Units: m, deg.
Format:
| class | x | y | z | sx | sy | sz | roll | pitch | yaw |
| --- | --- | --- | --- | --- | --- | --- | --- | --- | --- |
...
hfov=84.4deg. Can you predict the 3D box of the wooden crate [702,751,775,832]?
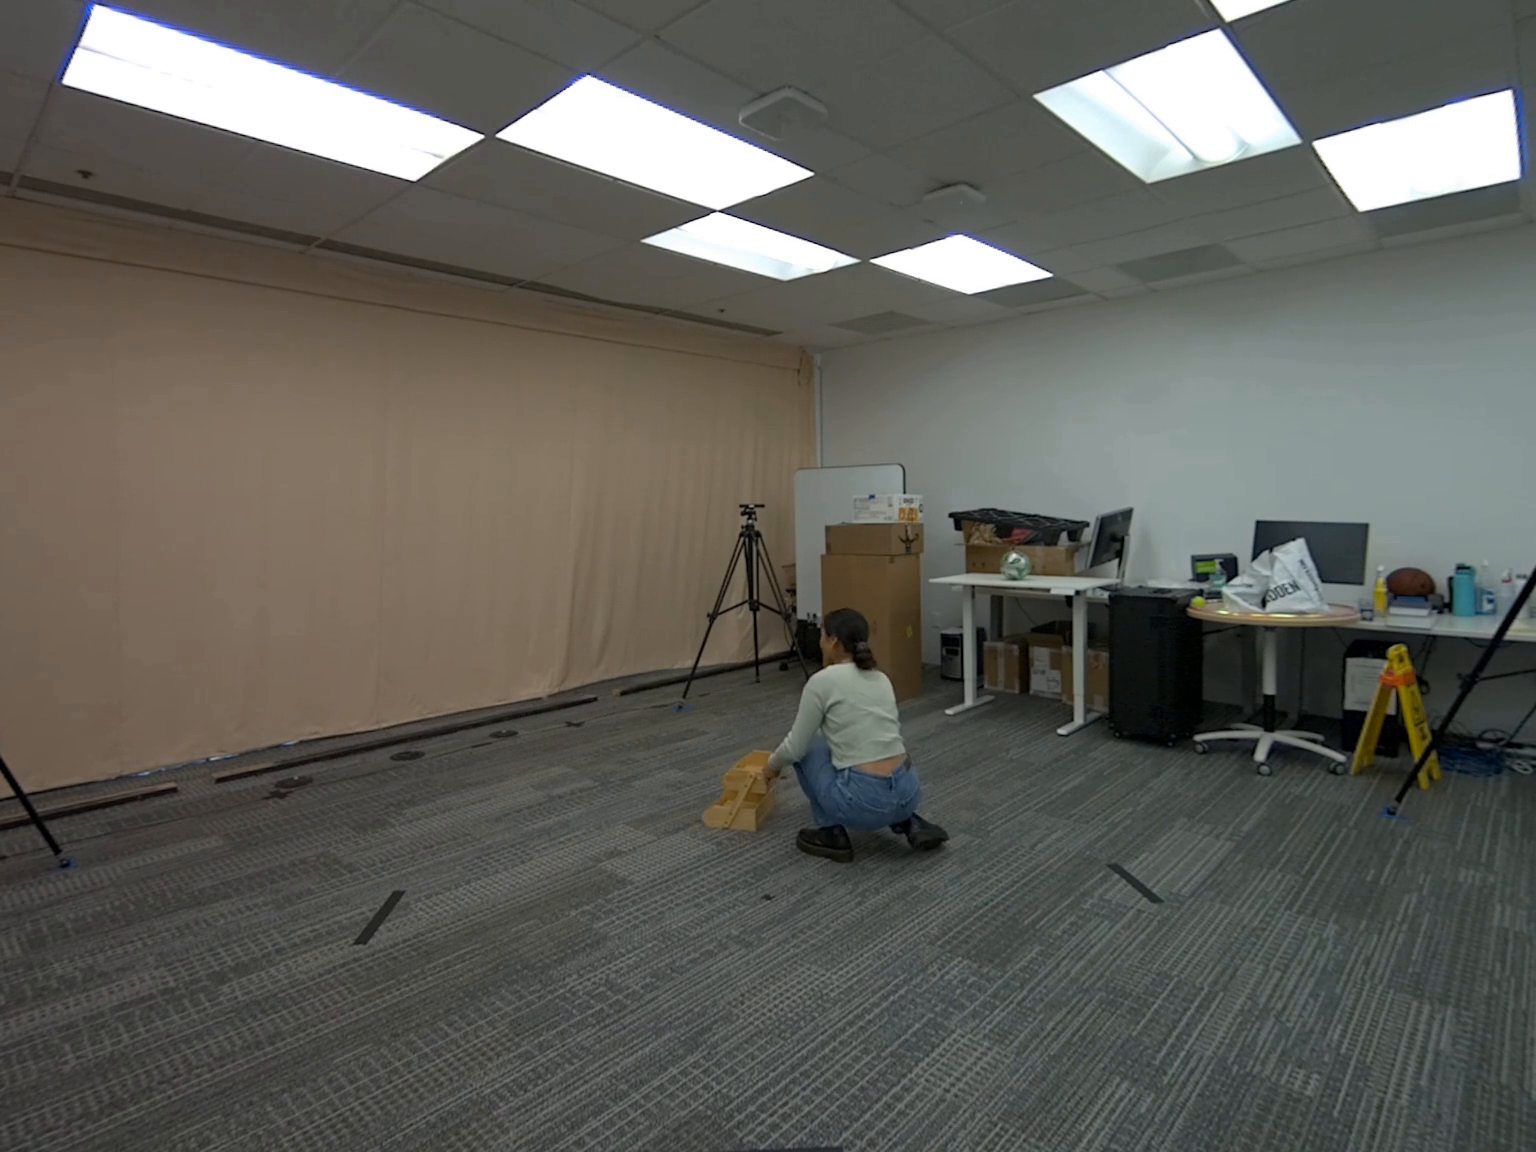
| class | x | y | z | sx | sy | sz | roll | pitch | yaw |
| --- | --- | --- | --- | --- | --- | --- | --- | --- | --- |
| wooden crate | -0.112 | 0.946 | 3.748 | 0.308 | 0.273 | 0.319 | -2 | 3 | 18 |
